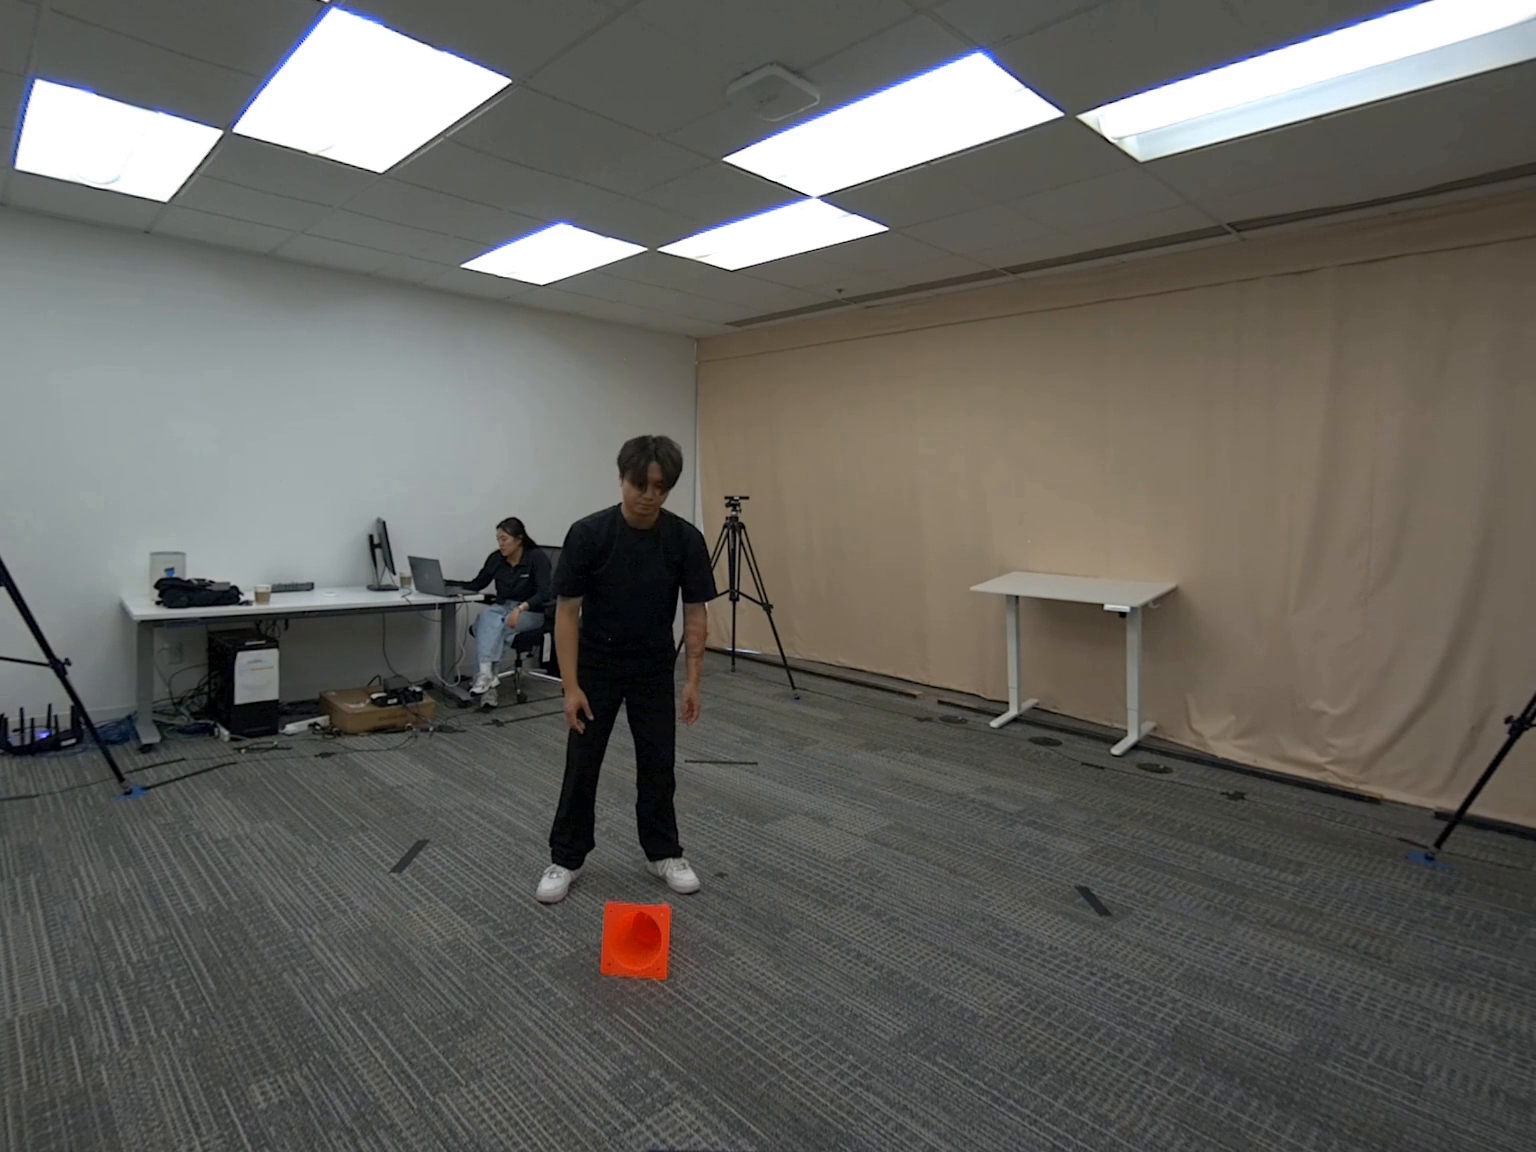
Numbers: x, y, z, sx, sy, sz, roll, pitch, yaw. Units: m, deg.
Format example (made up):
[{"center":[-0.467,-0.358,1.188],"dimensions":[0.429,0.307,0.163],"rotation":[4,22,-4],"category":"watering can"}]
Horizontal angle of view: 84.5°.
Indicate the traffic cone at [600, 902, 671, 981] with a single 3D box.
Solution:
[{"center":[-0.383,1.103,2.632],"dimensions":[0.206,0.205,0.378],"rotation":[0,-11,5],"category":"traffic cone"}]
